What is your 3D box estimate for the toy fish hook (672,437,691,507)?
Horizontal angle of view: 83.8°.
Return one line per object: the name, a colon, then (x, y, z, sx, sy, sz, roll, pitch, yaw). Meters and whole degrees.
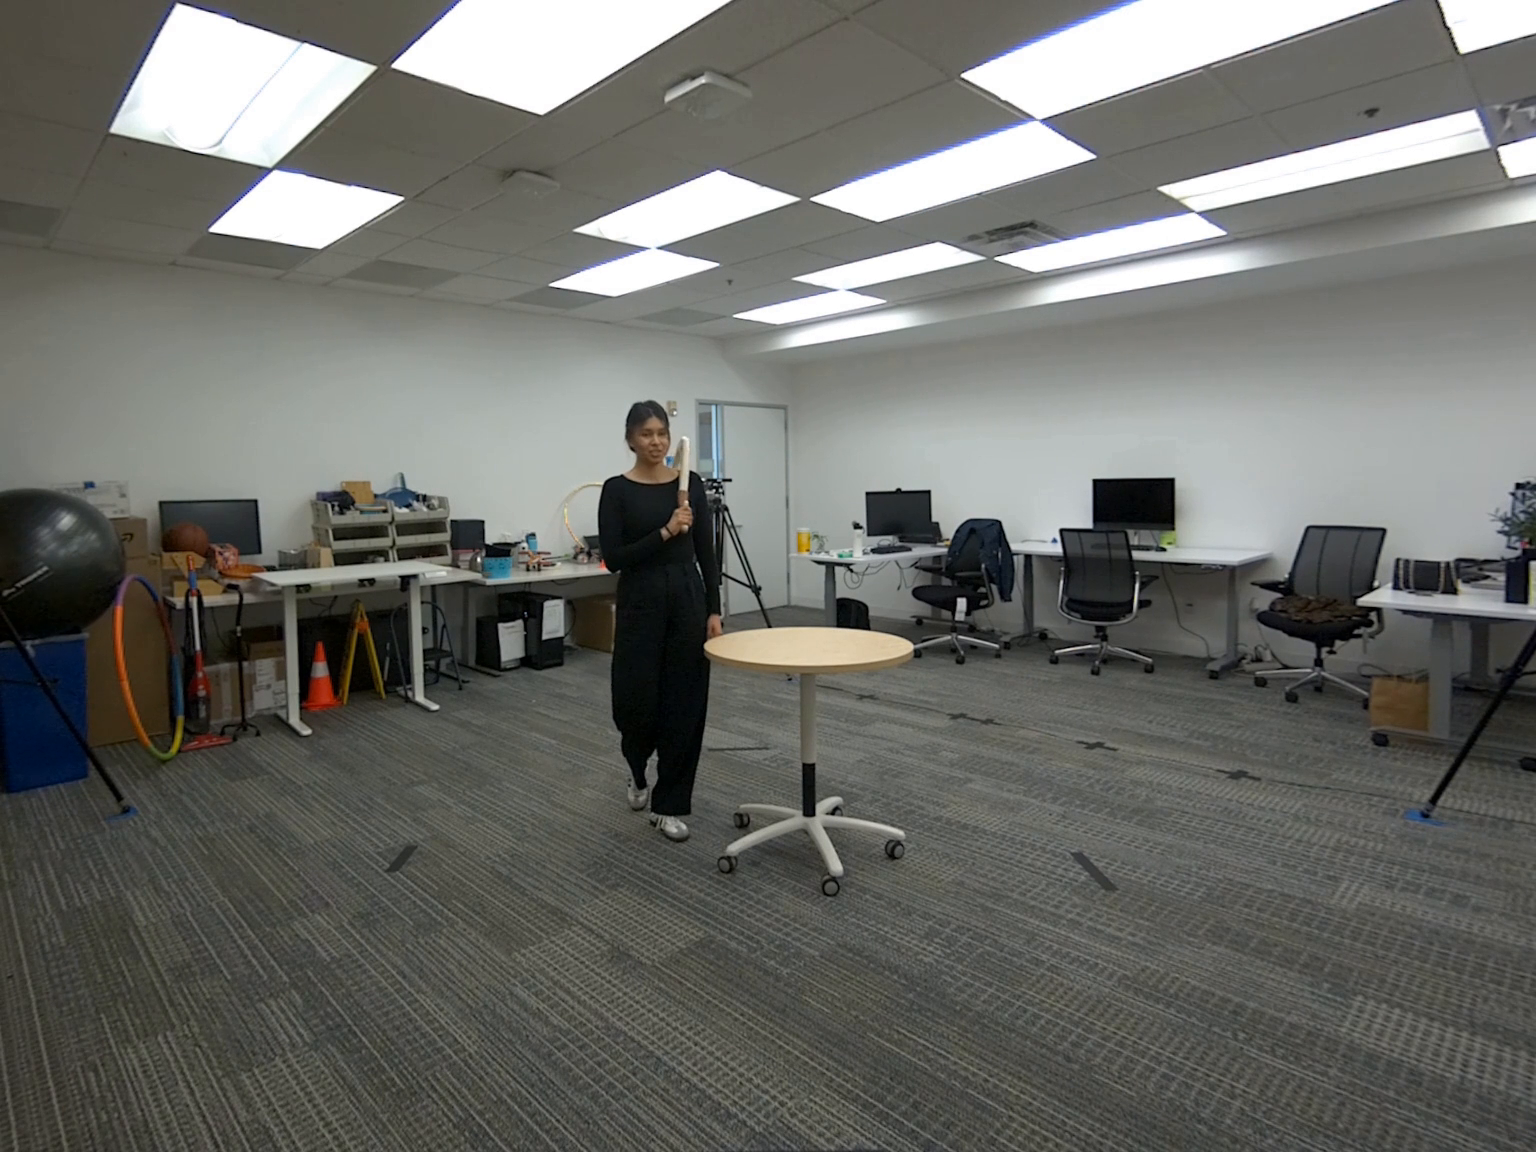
toy fish hook: (-0.363, -0.341, 3.437, 0.047, 0.520, 0.222, 9, -38, -14)
